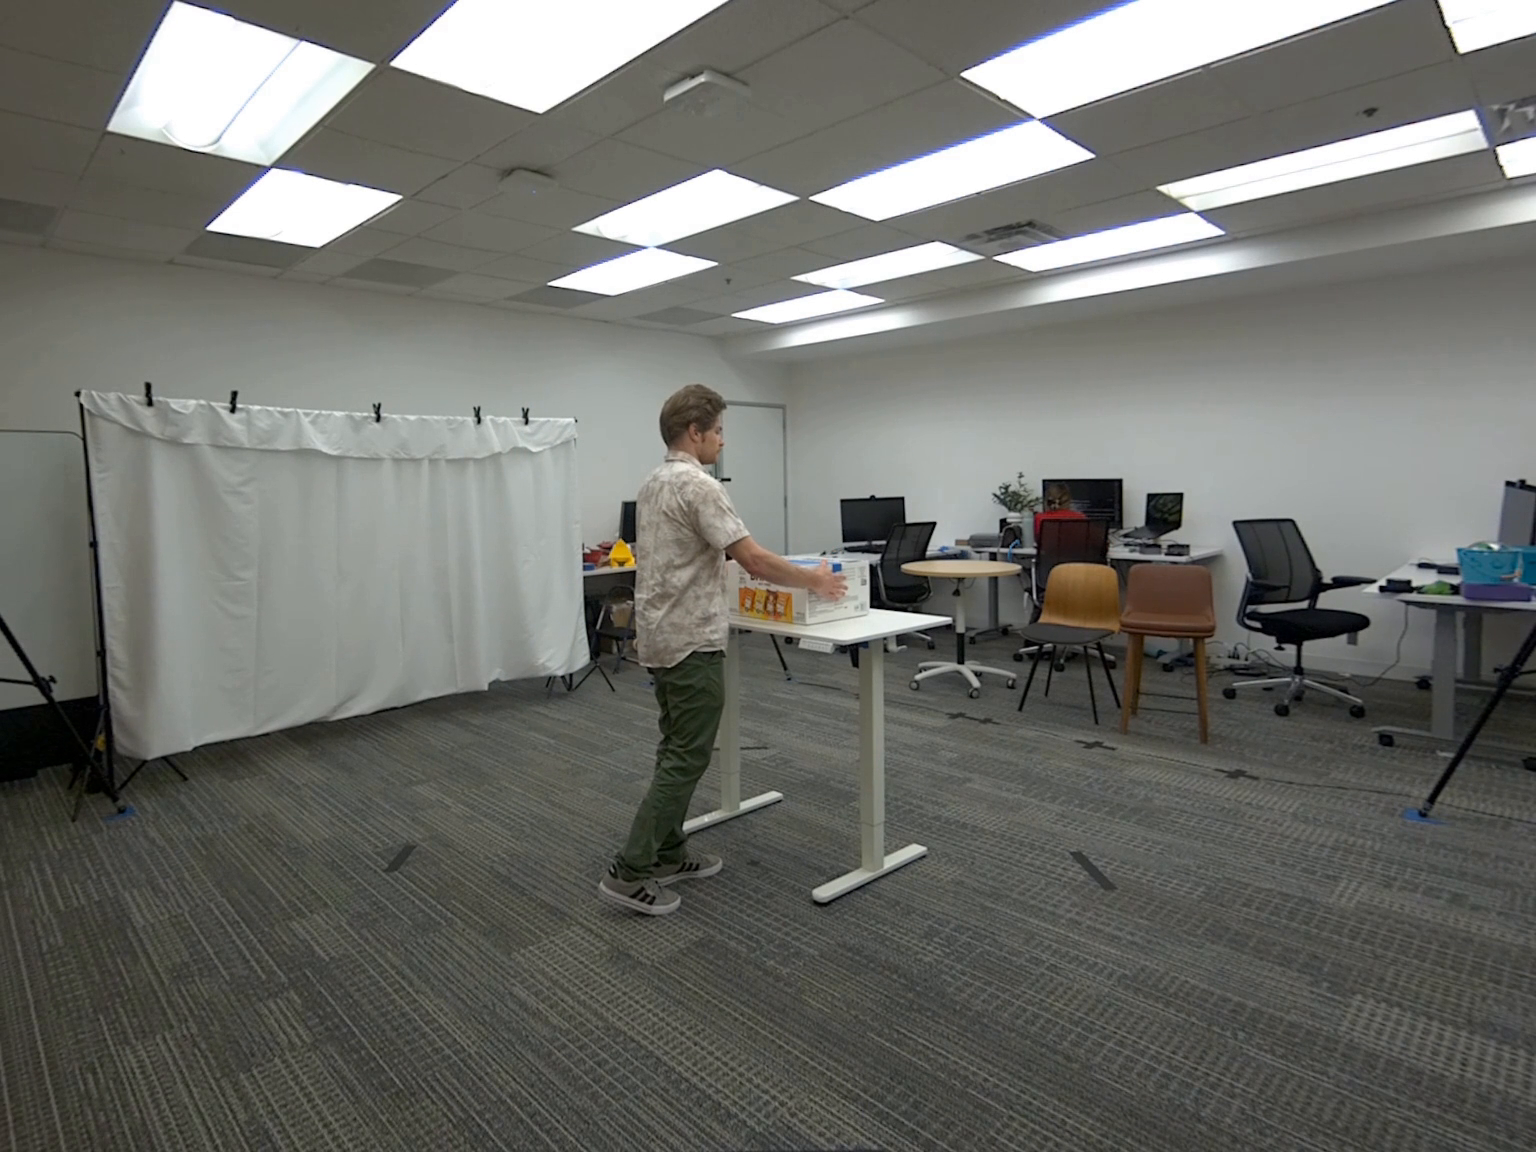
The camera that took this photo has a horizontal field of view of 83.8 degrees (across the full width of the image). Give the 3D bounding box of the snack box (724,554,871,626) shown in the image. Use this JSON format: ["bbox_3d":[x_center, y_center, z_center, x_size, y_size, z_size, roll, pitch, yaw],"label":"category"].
[{"bbox_3d":[0.114,0.044,3.186,0.331,0.205,0.417,-6,7,-42],"label":"snack box"}]
